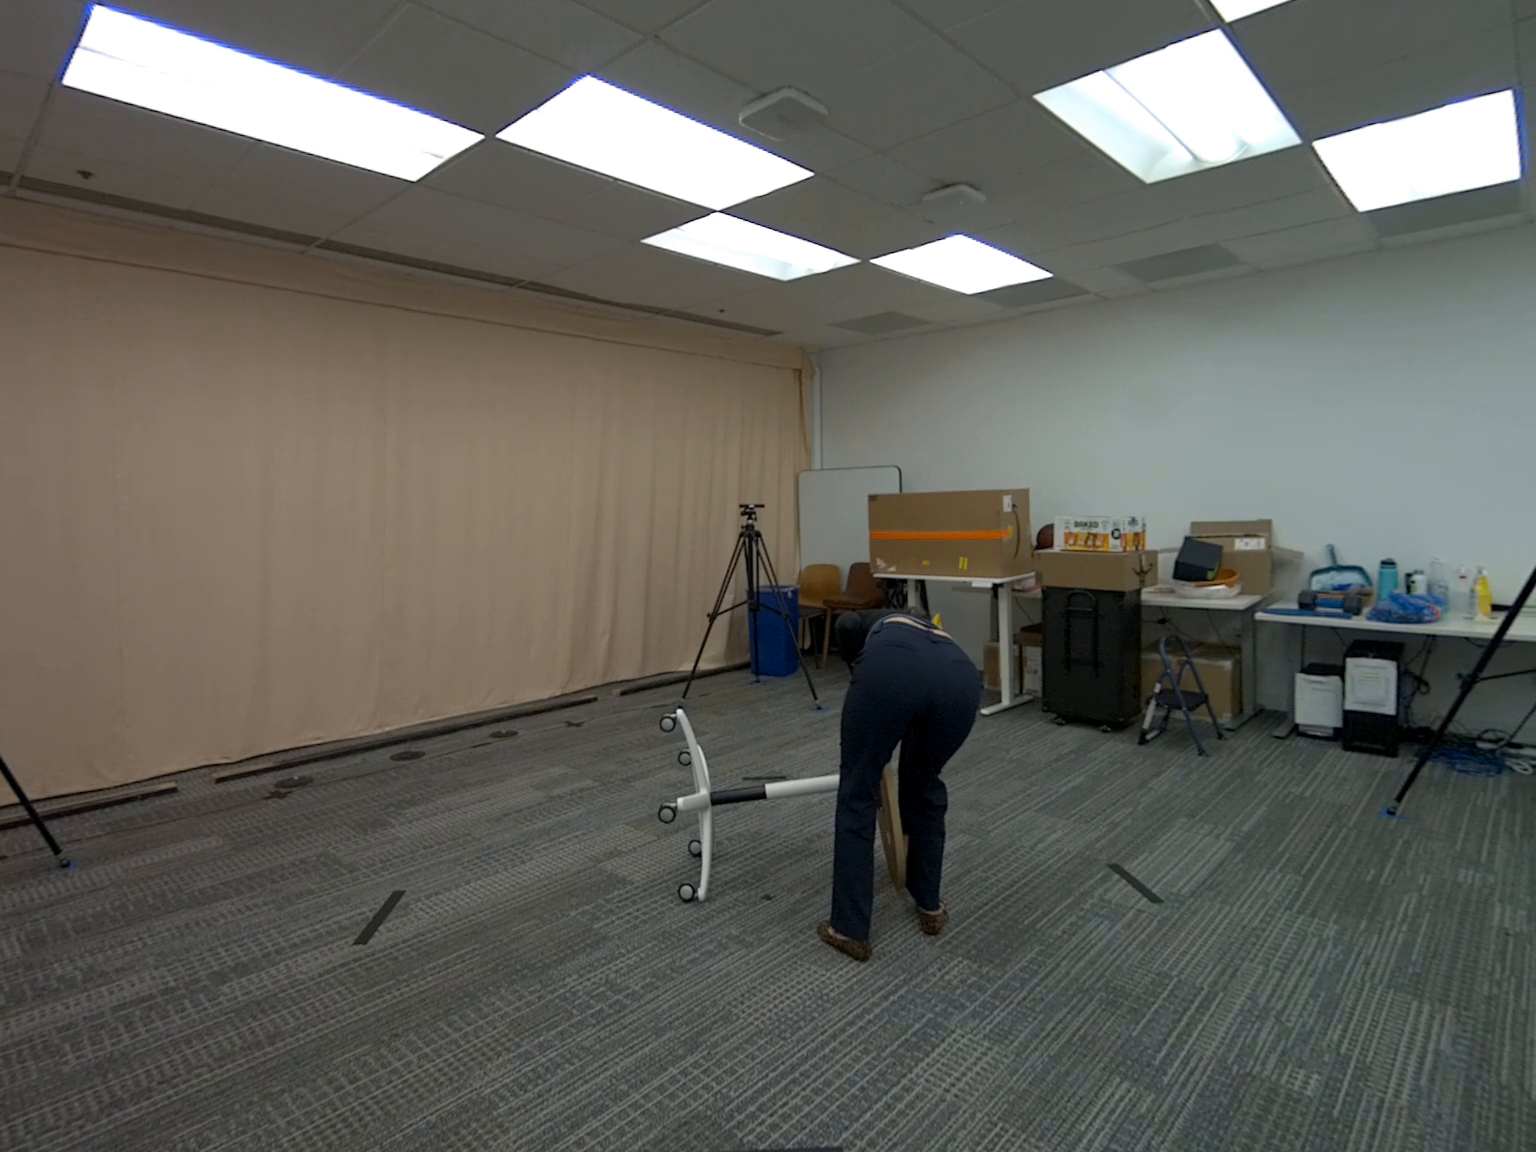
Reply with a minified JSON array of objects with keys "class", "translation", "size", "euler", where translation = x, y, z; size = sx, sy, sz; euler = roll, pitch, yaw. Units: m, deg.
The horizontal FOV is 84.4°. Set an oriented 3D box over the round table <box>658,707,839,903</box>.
[{"class":"round table","translation":[0.042,0.800,3.122],"size":[0.796,0.762,0.764],"euler":[-8,4,2]}]
